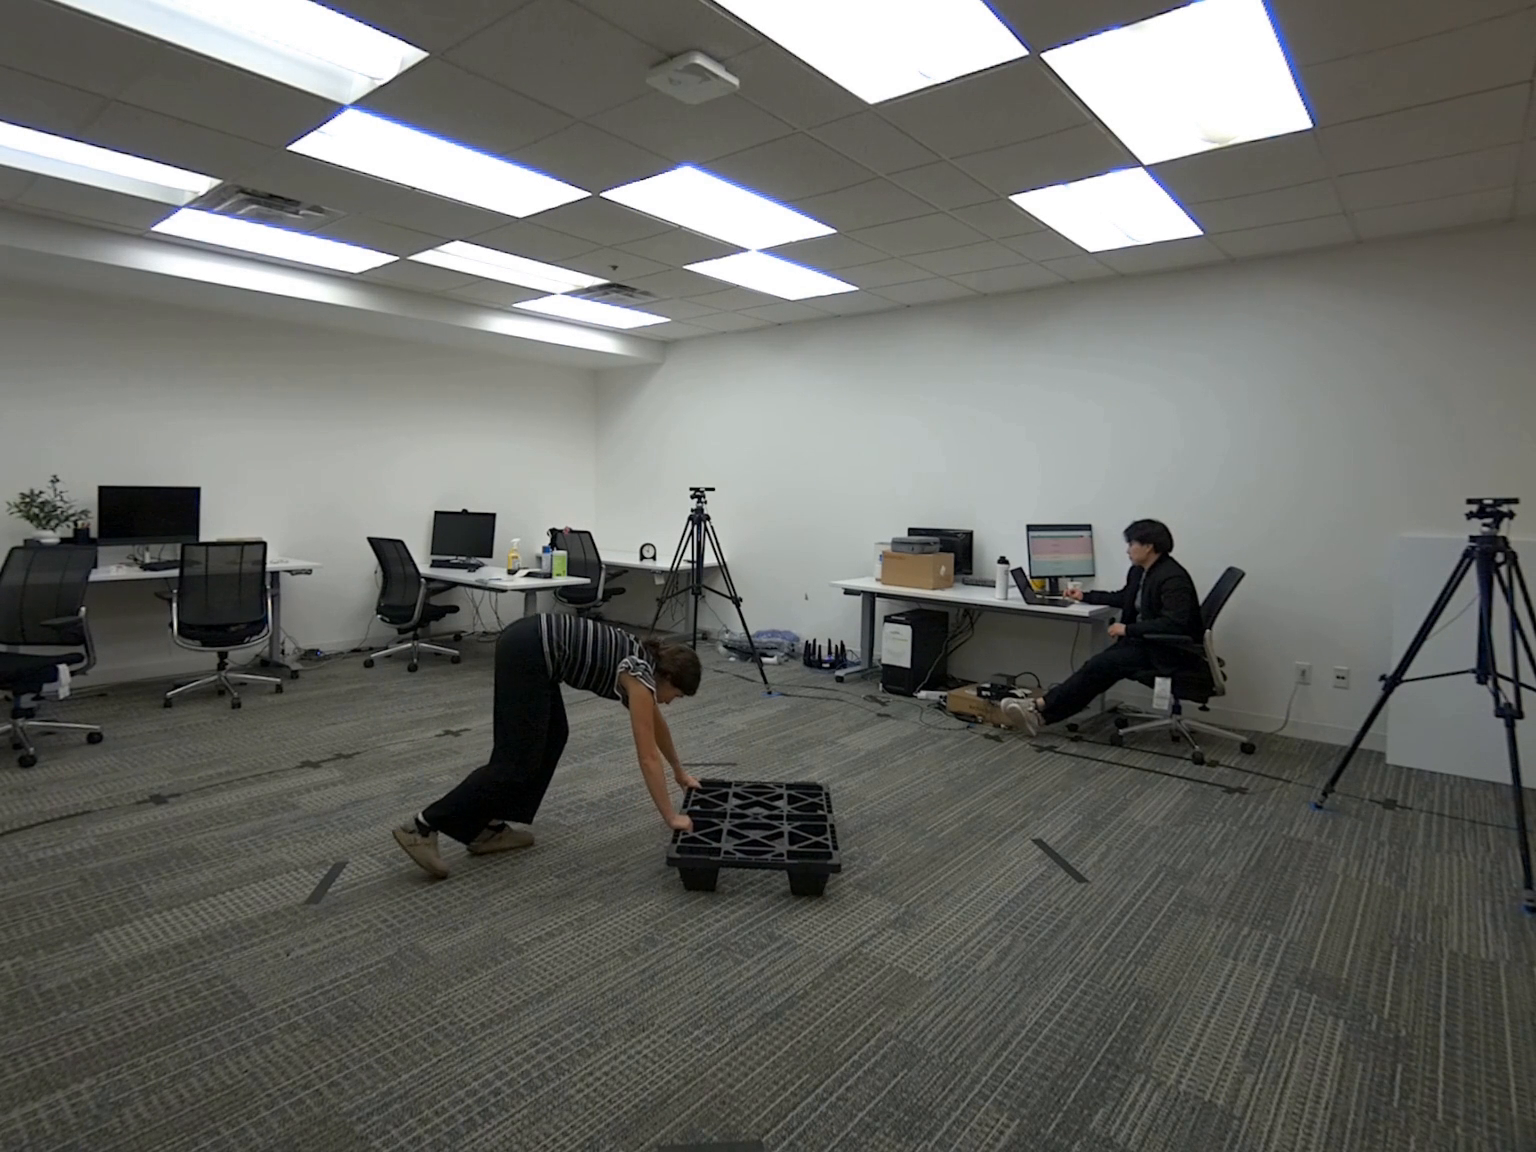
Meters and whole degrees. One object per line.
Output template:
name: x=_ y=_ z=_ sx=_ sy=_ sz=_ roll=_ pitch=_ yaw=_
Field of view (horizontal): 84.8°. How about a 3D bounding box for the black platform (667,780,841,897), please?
black platform: x=-0.059 y=0.982 z=3.278 sx=0.607 sy=0.143 sz=0.806 roll=1 pitch=6 yaw=2
